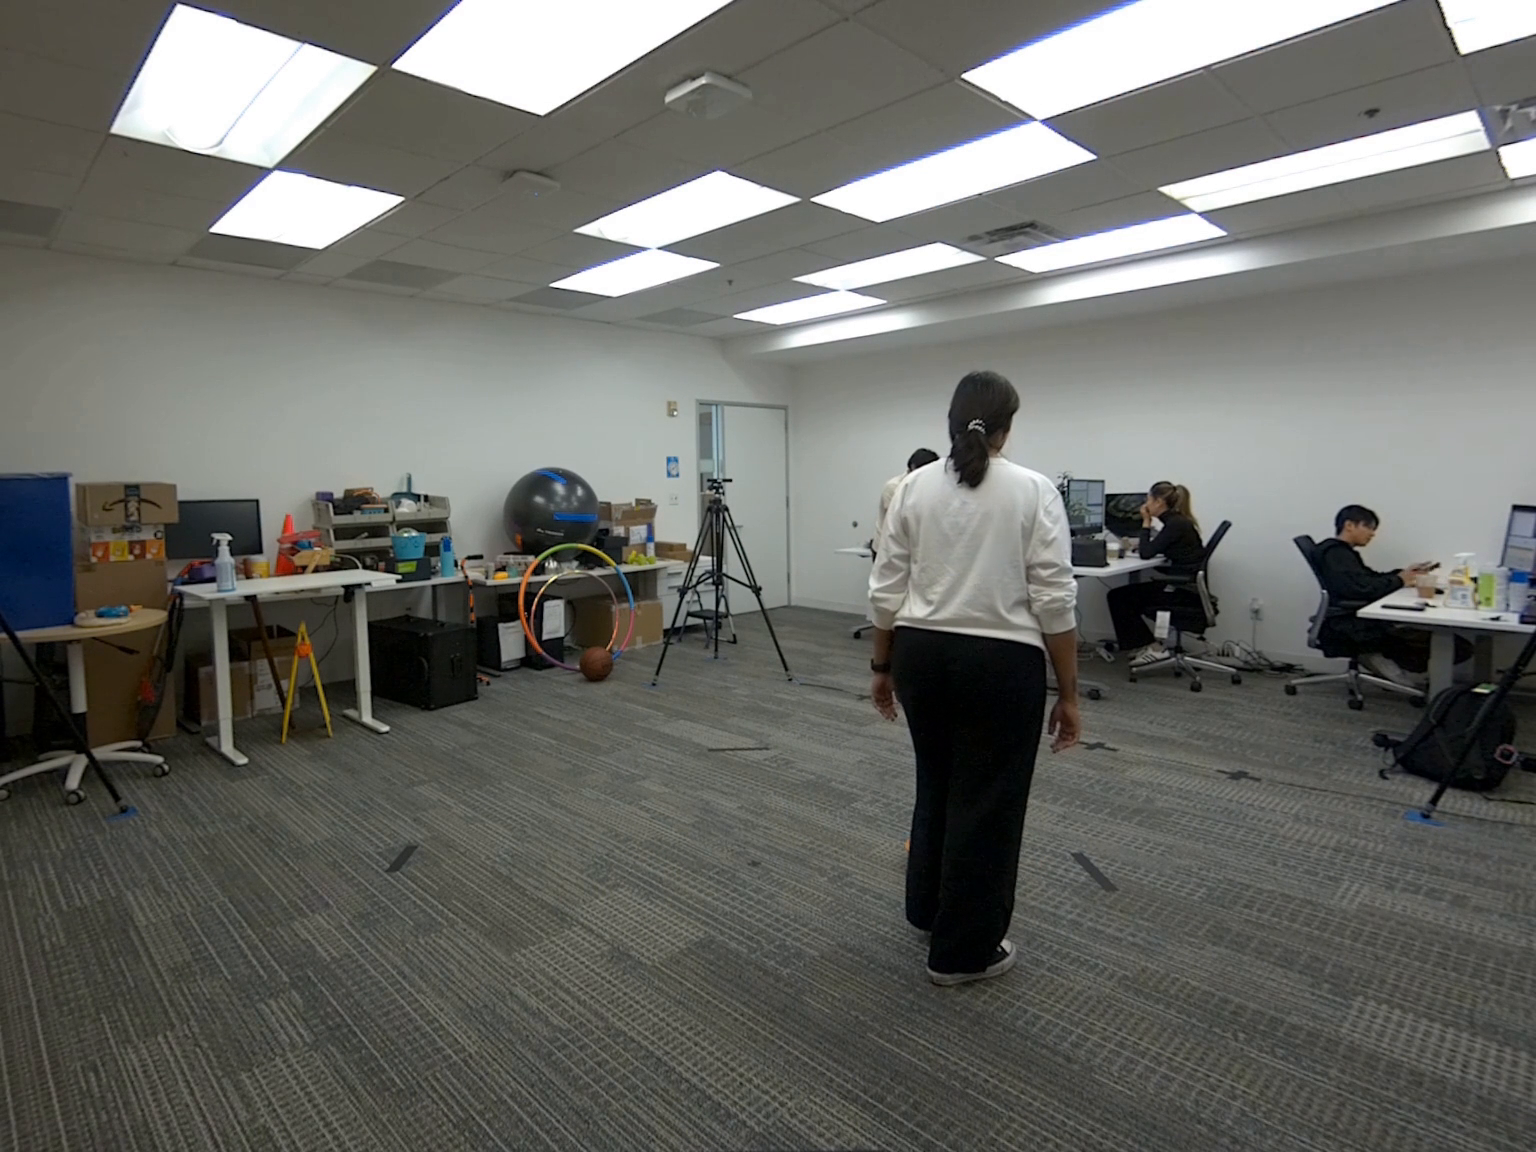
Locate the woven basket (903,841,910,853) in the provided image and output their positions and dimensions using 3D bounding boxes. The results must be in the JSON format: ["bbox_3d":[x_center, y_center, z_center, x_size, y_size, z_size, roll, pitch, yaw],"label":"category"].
[{"bbox_3d":[0.674,1.003,3.042,0.356,0.073,0.249,0,5,16],"label":"woven basket"}]
